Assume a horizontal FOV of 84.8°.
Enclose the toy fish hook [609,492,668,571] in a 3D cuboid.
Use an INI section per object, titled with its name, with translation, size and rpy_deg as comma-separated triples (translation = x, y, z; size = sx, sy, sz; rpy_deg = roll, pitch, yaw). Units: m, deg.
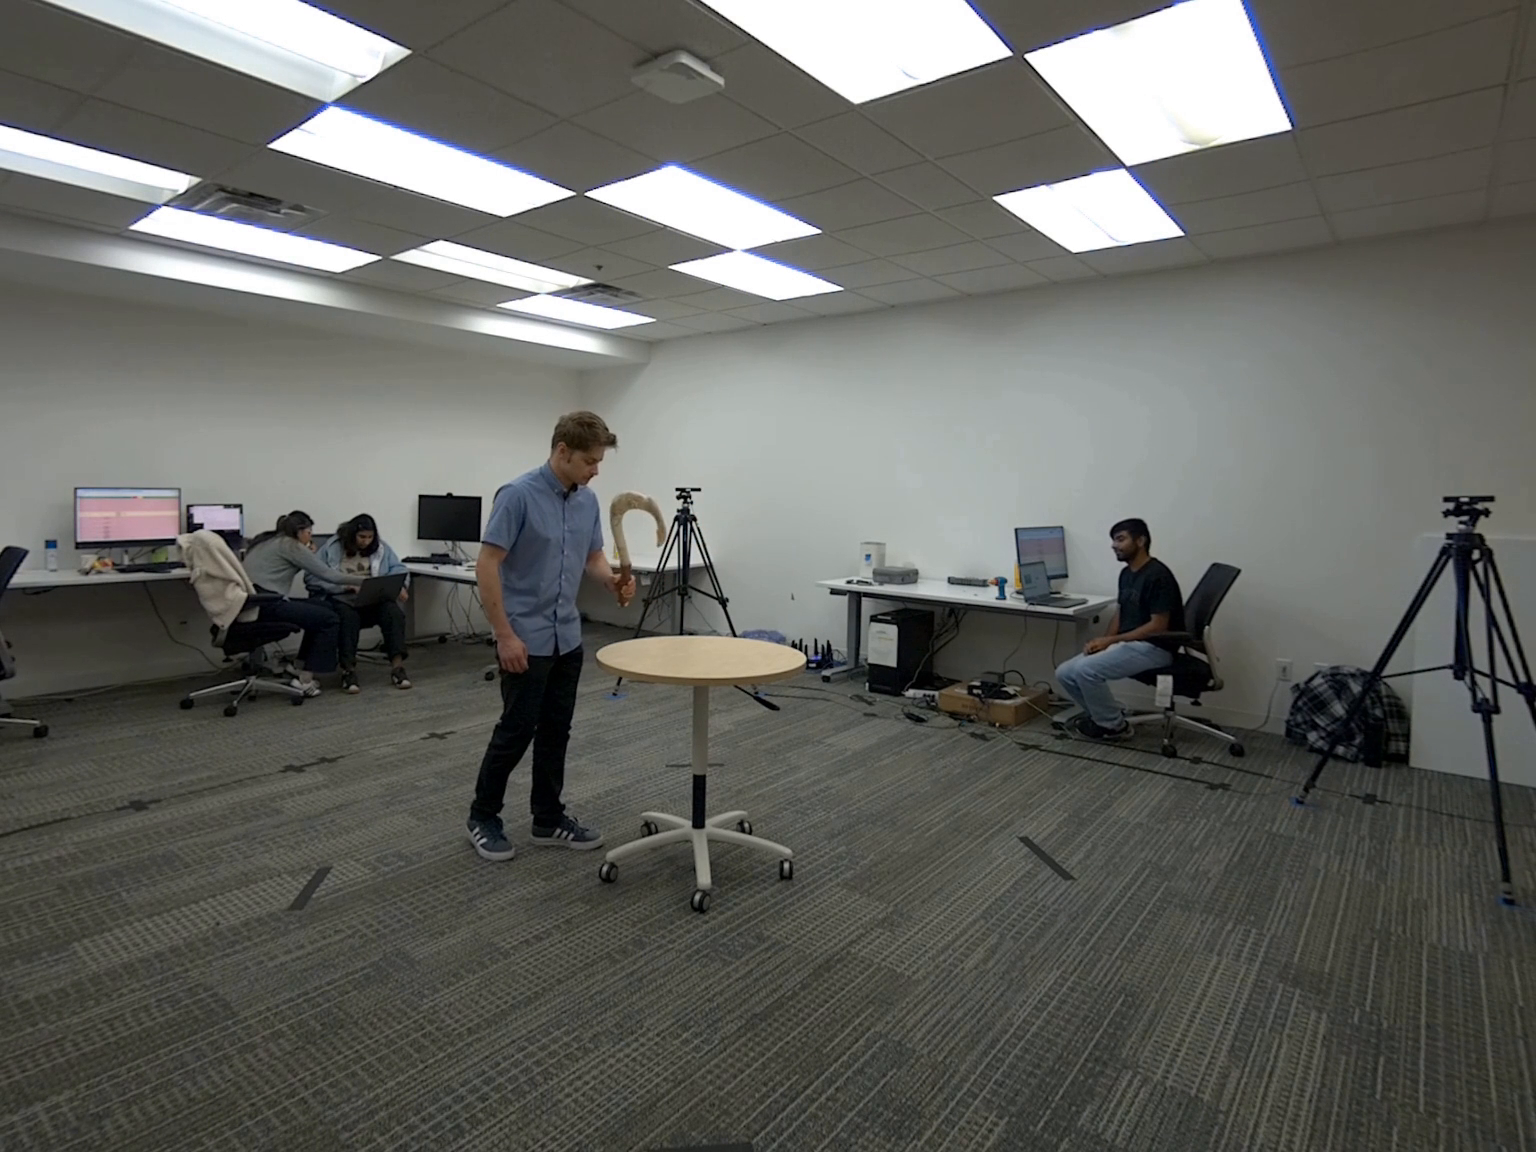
[toy fish hook]
translation = -0.493, -0.075, 3.094
size = 0.230, 0.495, 0.048
rpy_deg = 18, 33, 19
